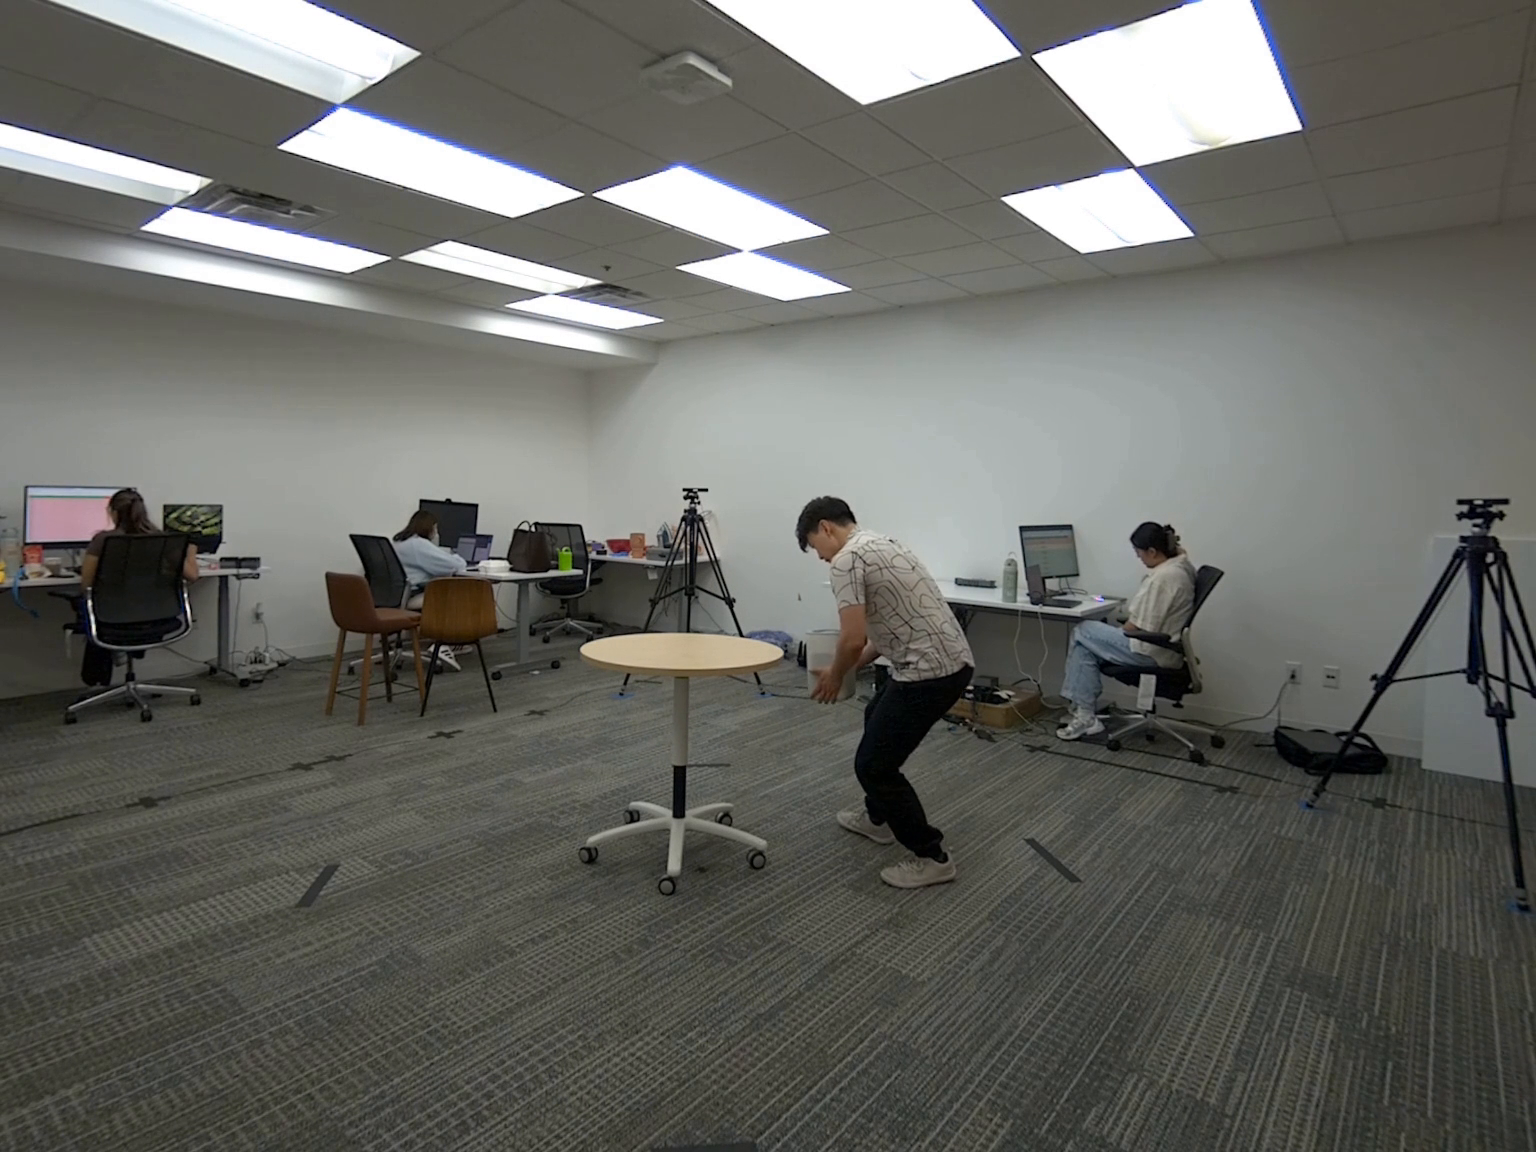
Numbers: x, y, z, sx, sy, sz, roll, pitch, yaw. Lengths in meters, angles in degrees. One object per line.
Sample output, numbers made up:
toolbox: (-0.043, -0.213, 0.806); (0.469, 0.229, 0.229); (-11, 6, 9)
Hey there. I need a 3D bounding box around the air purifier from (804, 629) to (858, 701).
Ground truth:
air purifier: (0.247, 0.351, 3.360); (0.176, 0.265, 0.167); (-3, 0, 24)
